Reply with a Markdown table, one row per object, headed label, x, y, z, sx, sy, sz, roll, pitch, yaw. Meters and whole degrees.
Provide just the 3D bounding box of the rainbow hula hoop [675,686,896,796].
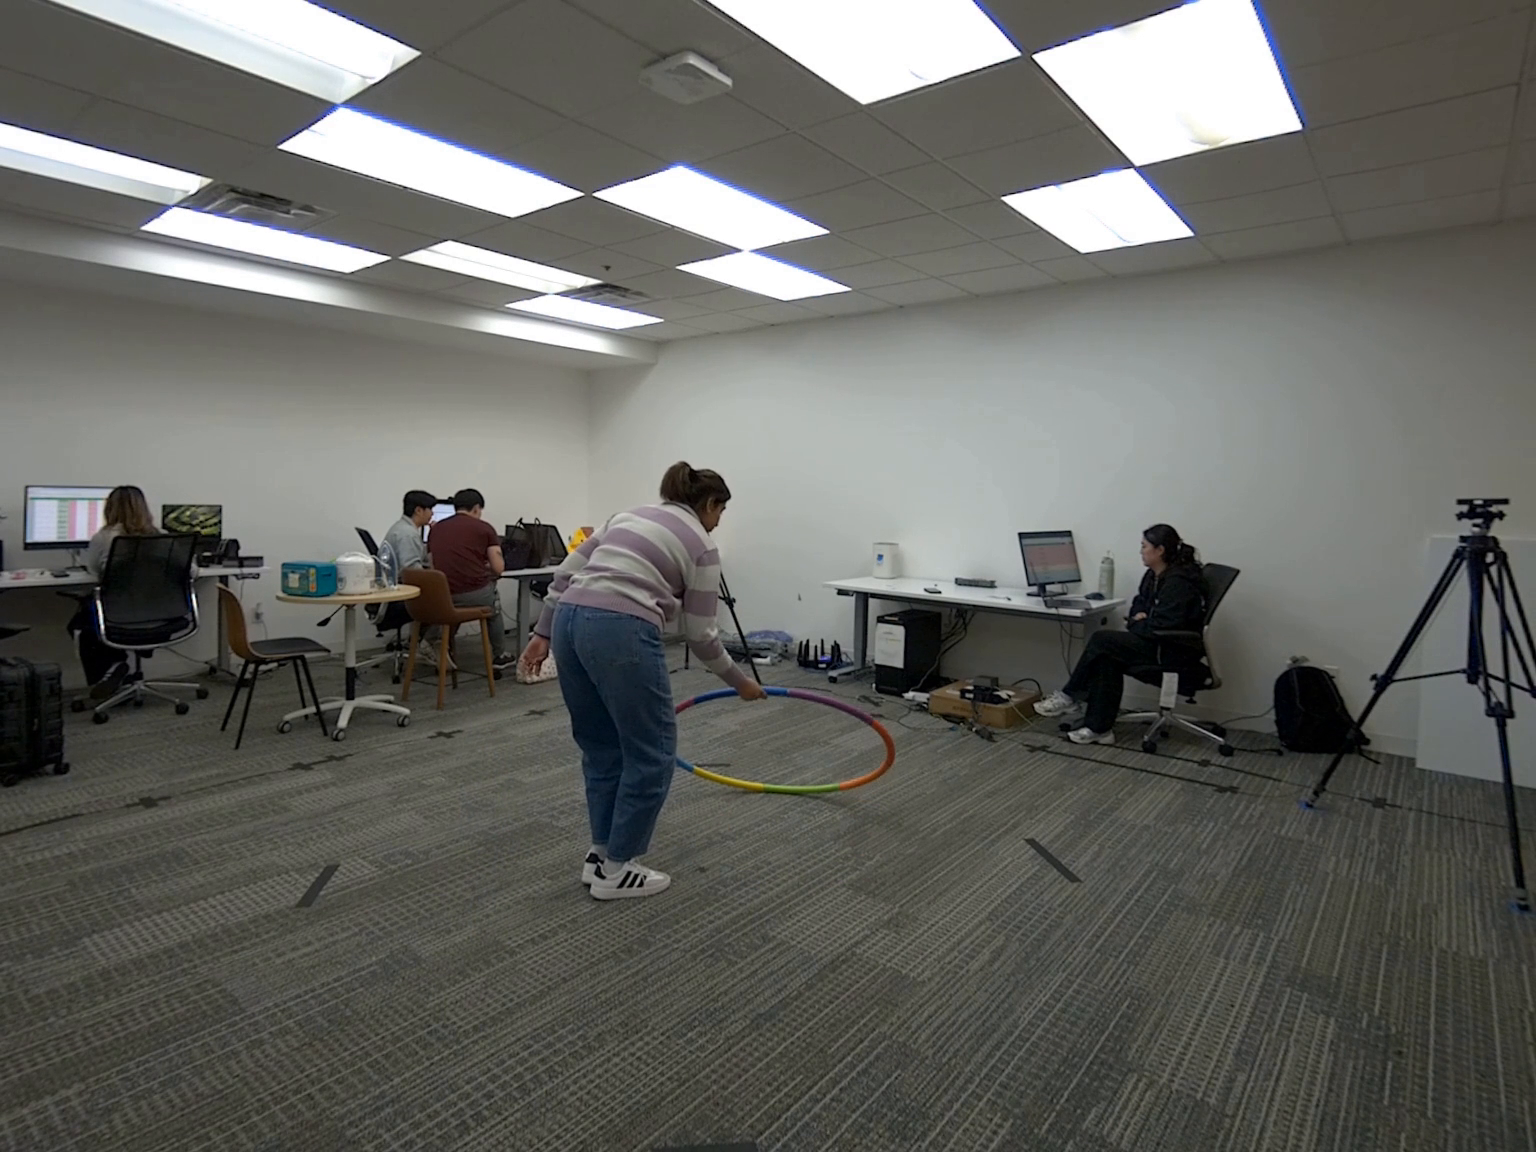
| label | x | y | z | sx | sy | sz | roll | pitch | yaw |
| --- | --- | --- | --- | --- | --- | --- | --- | --- | --- |
| rainbow hula hoop | 0.015 | 0.708 | 3.555 | 0.990 | 0.053 | 0.959 | 6 | -37 | 3 |
